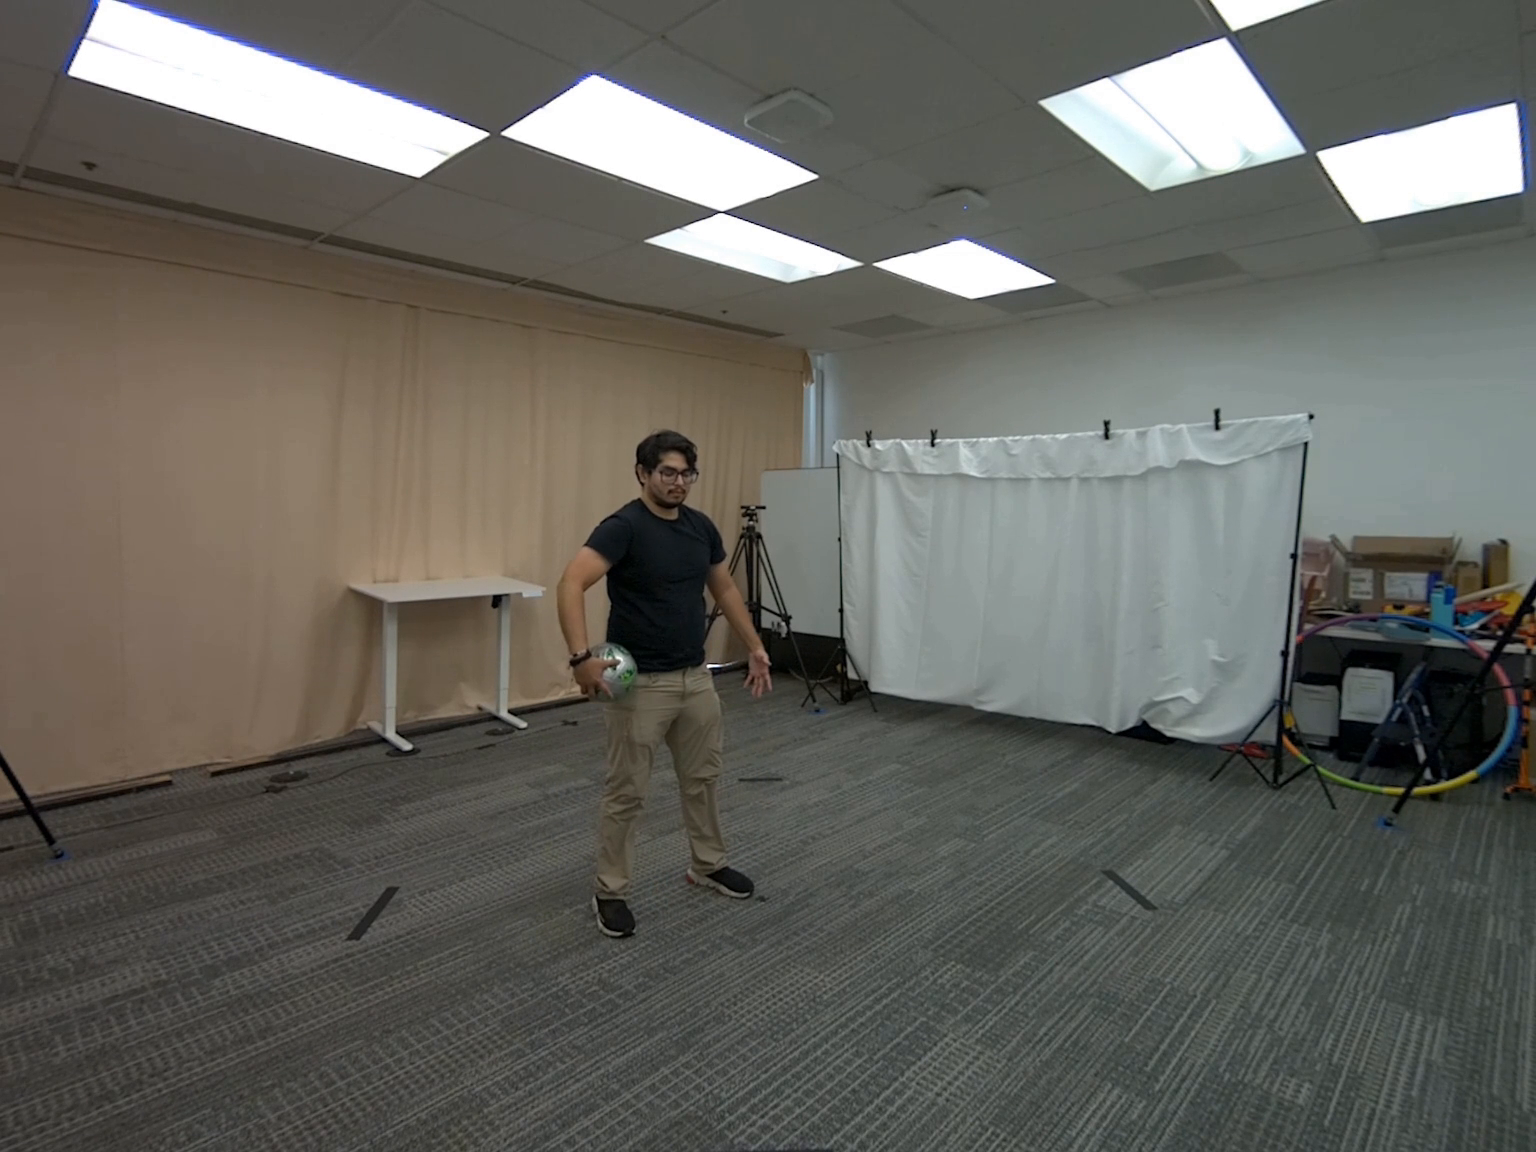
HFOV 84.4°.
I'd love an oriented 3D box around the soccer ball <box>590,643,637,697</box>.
[{"bbox_3d":[-0.500,0.298,2.632,0.187,0.187,0.188,0,4,-2],"label":"soccer ball"}]
